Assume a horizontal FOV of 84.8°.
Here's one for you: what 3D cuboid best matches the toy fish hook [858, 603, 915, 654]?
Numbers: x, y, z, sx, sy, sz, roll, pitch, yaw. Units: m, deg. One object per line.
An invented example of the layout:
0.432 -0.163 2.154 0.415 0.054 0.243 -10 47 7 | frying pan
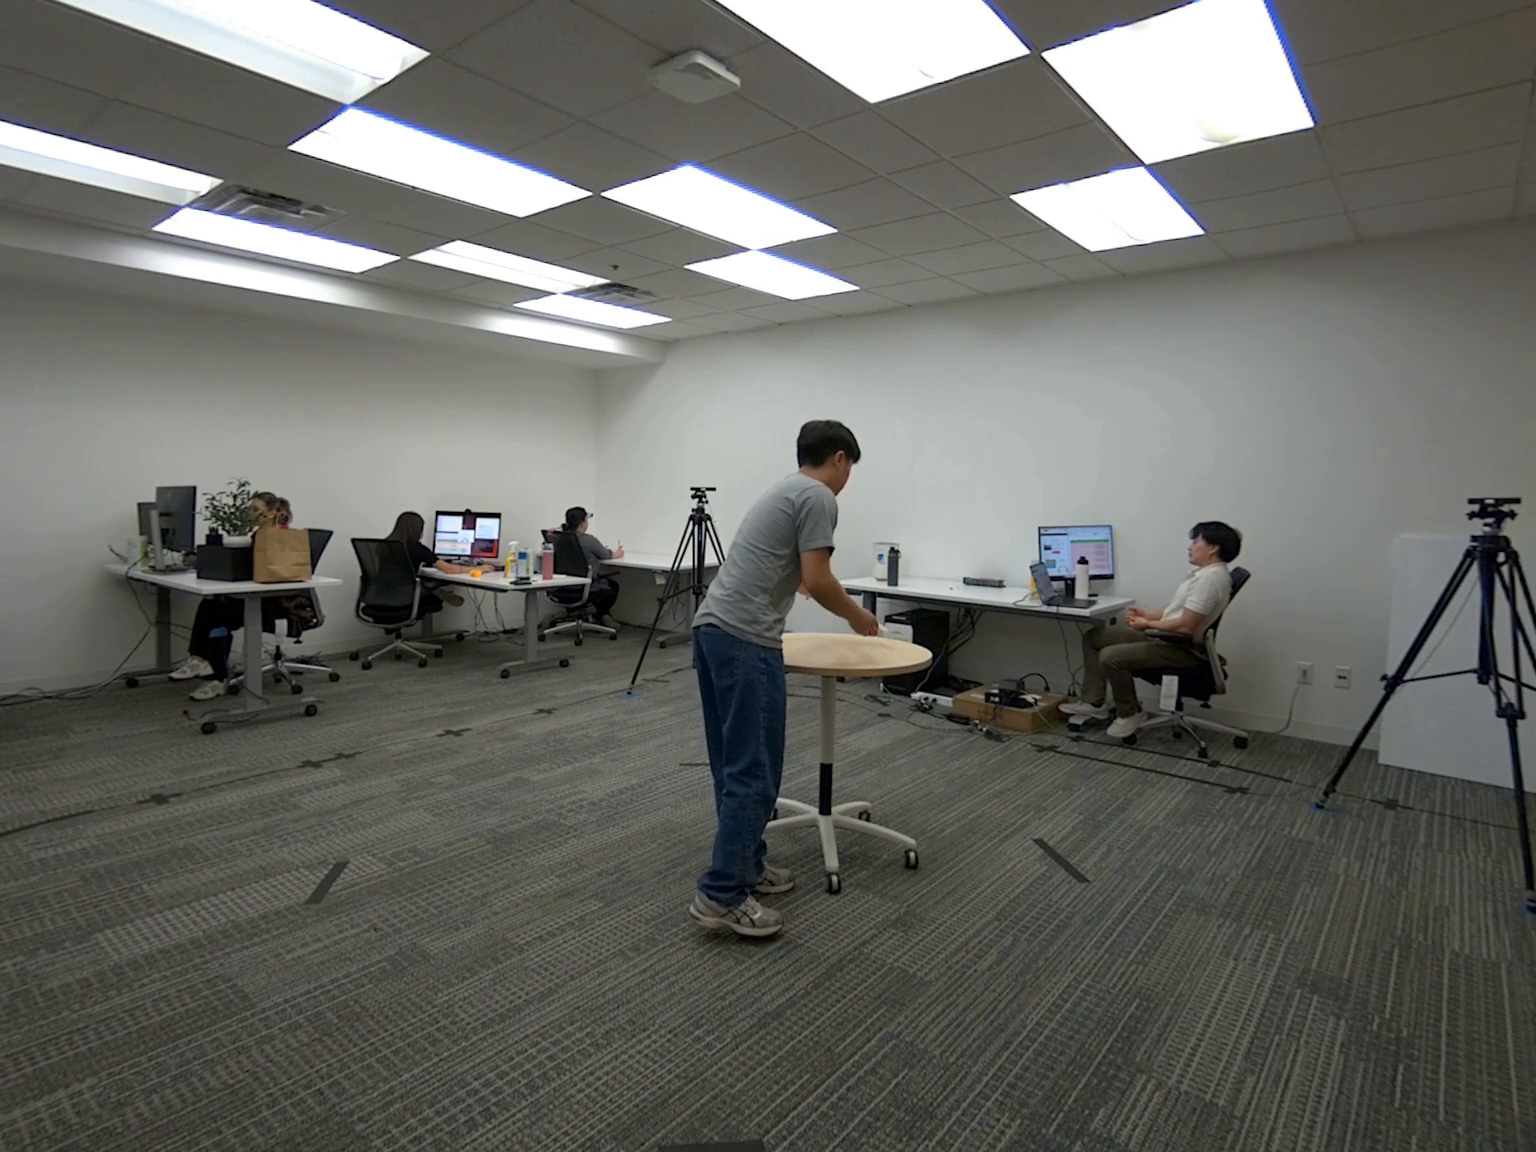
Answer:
0.382 0.168 3.203 0.223 0.048 0.511 24 5 -6 | toy fish hook
